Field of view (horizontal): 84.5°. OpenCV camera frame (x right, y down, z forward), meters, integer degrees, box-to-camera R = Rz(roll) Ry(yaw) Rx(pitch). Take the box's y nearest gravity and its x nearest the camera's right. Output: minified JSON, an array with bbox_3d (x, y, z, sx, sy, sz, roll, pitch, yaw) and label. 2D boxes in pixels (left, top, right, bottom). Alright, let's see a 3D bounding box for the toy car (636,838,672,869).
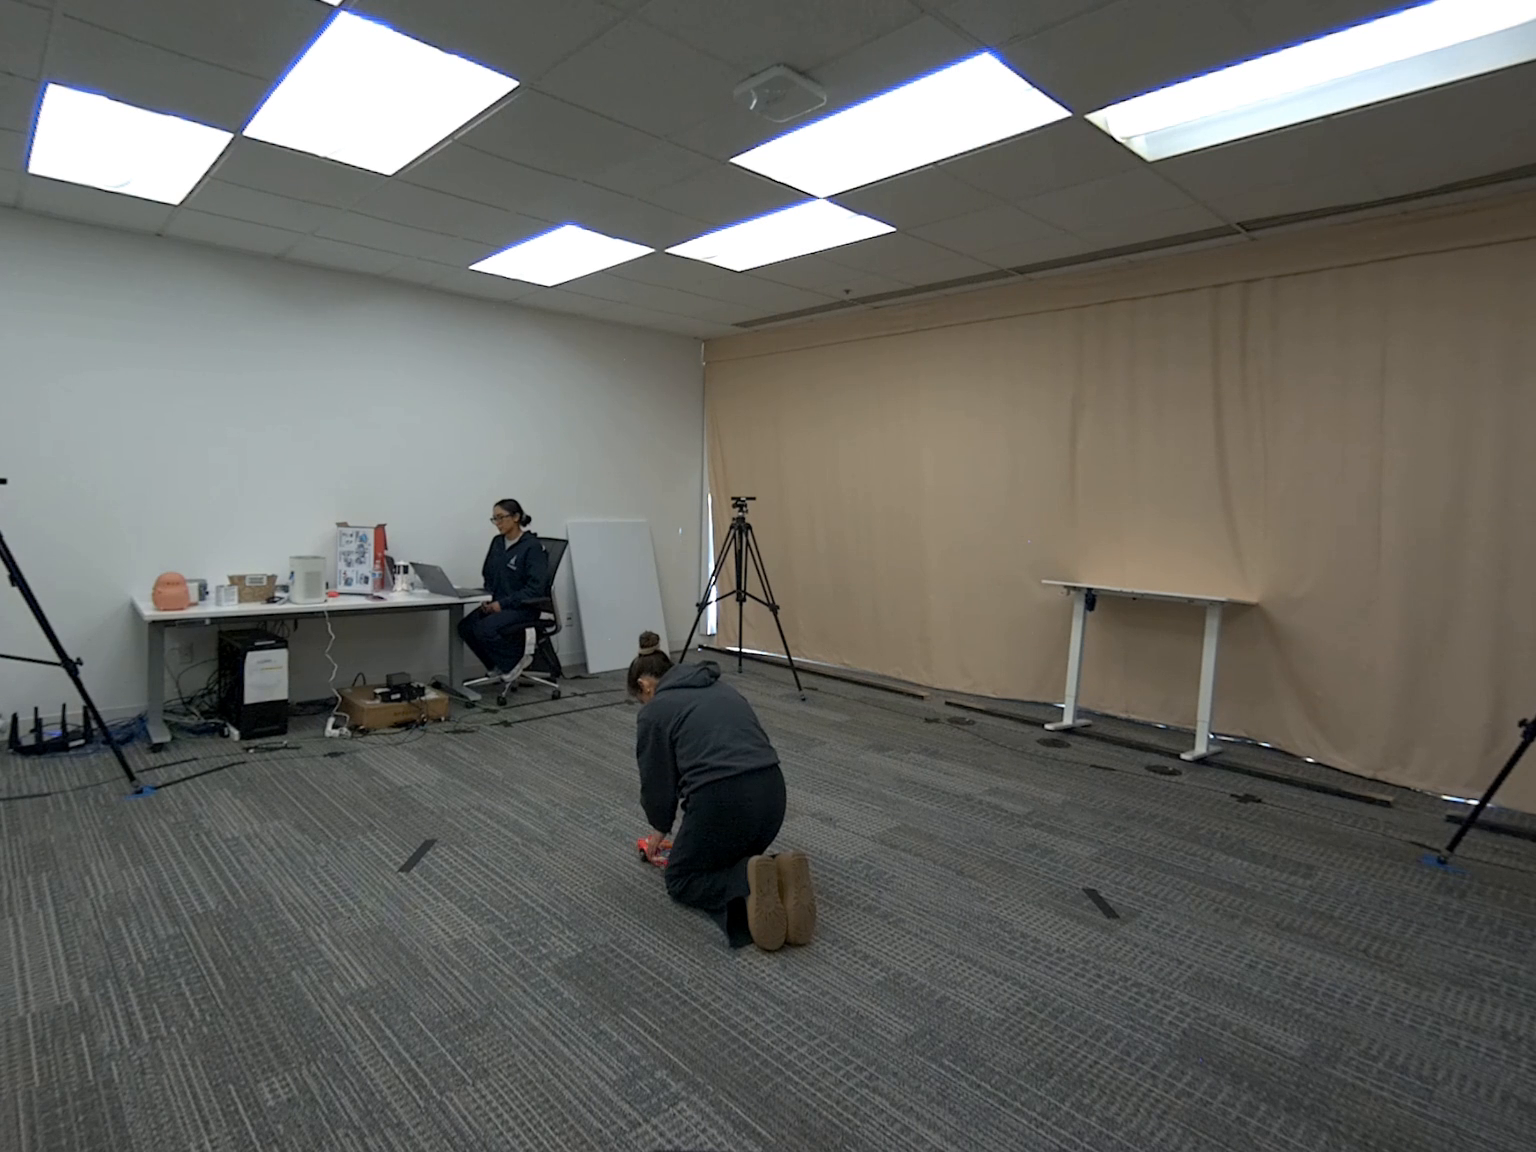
[{"bbox_3d":[-0.416,1.061,3.219,0.127,0.082,0.262,-5,21,-36],"label":"toy car"}]
